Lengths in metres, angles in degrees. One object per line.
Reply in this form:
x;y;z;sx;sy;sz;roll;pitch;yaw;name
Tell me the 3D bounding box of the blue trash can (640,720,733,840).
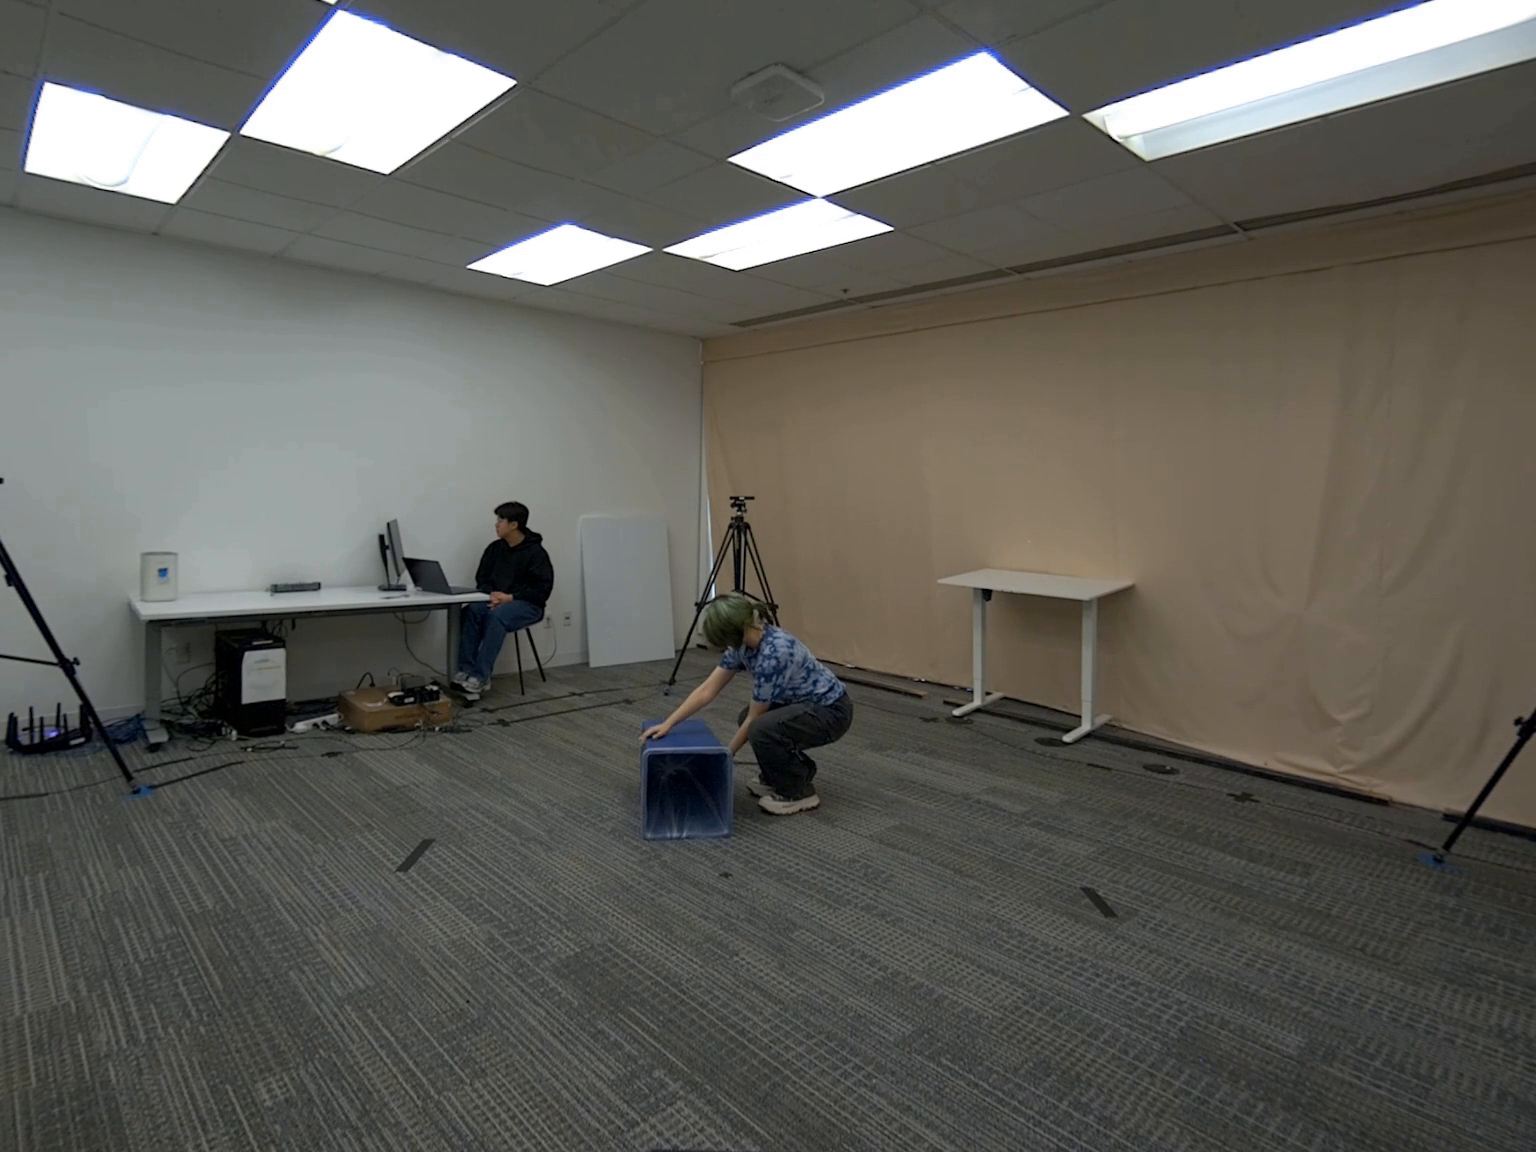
-0.406;0.861;3.767;0.375;0.373;0.721;1;3;-11;blue trash can
